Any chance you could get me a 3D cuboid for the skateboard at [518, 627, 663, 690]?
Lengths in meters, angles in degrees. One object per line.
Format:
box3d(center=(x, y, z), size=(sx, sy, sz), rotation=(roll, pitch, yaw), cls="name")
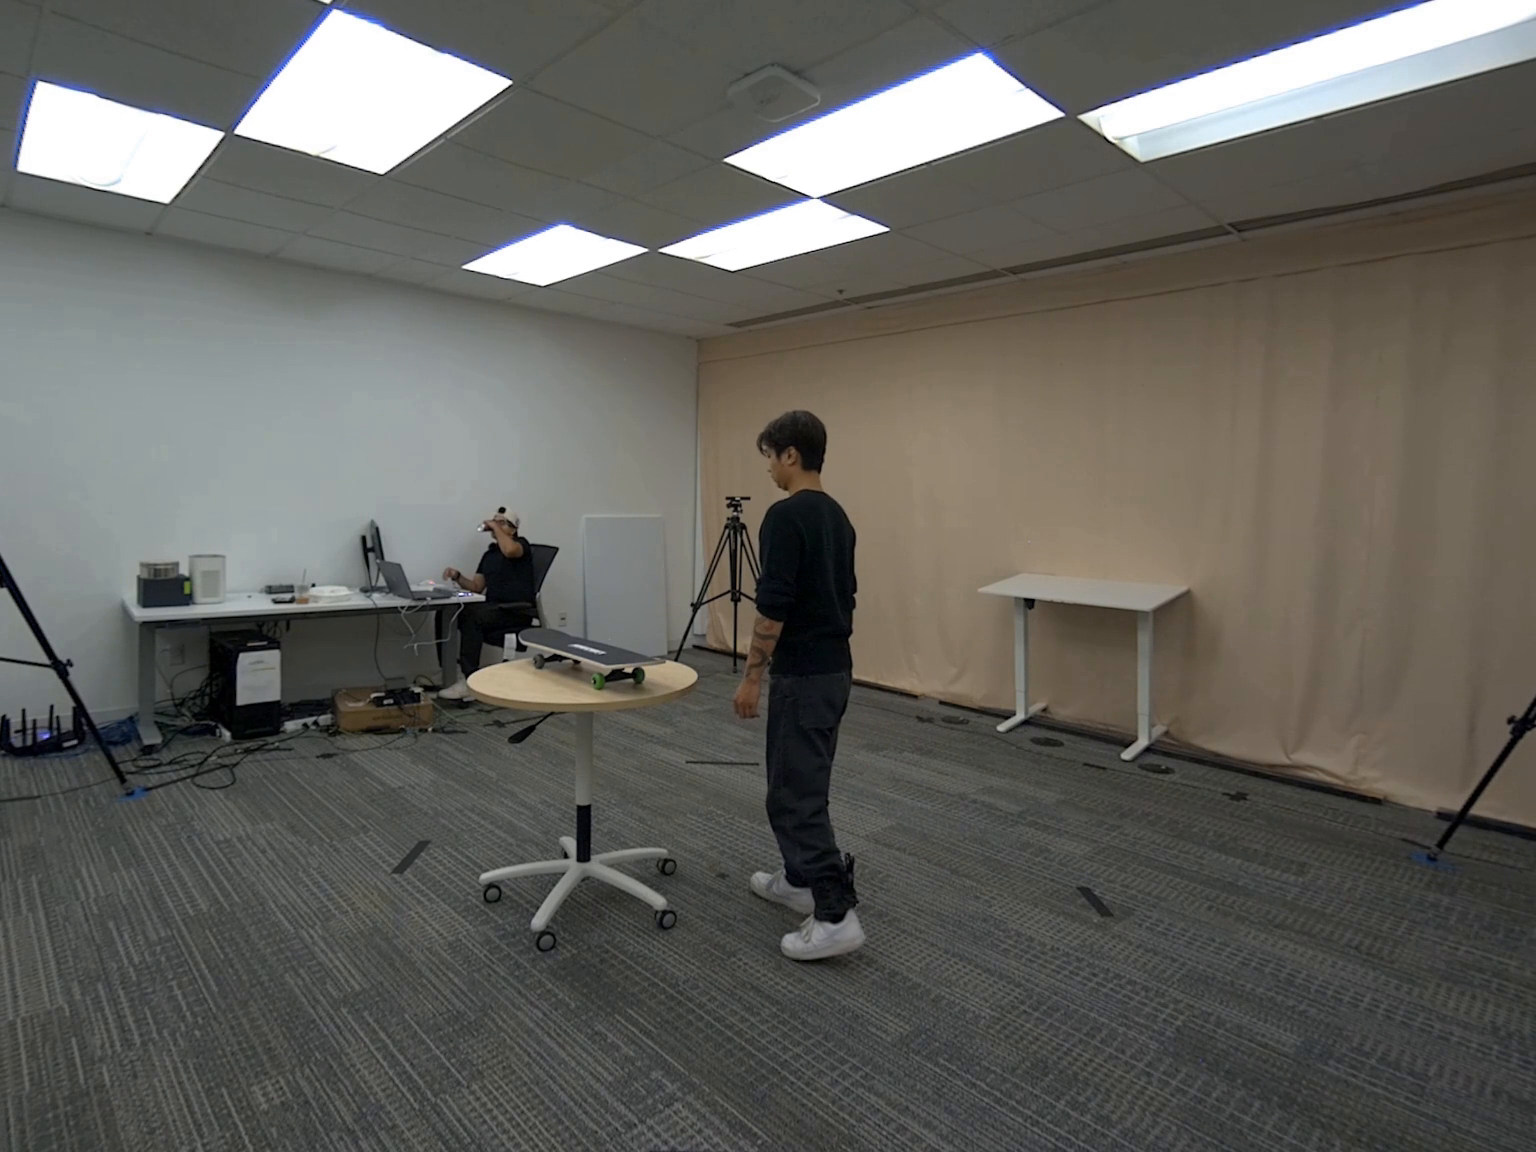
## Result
box3d(center=(-0.621, 0.284, 2.863), size=(0.189, 0.110, 0.806), rotation=(-5, 8, -42), cls="skateboard")
